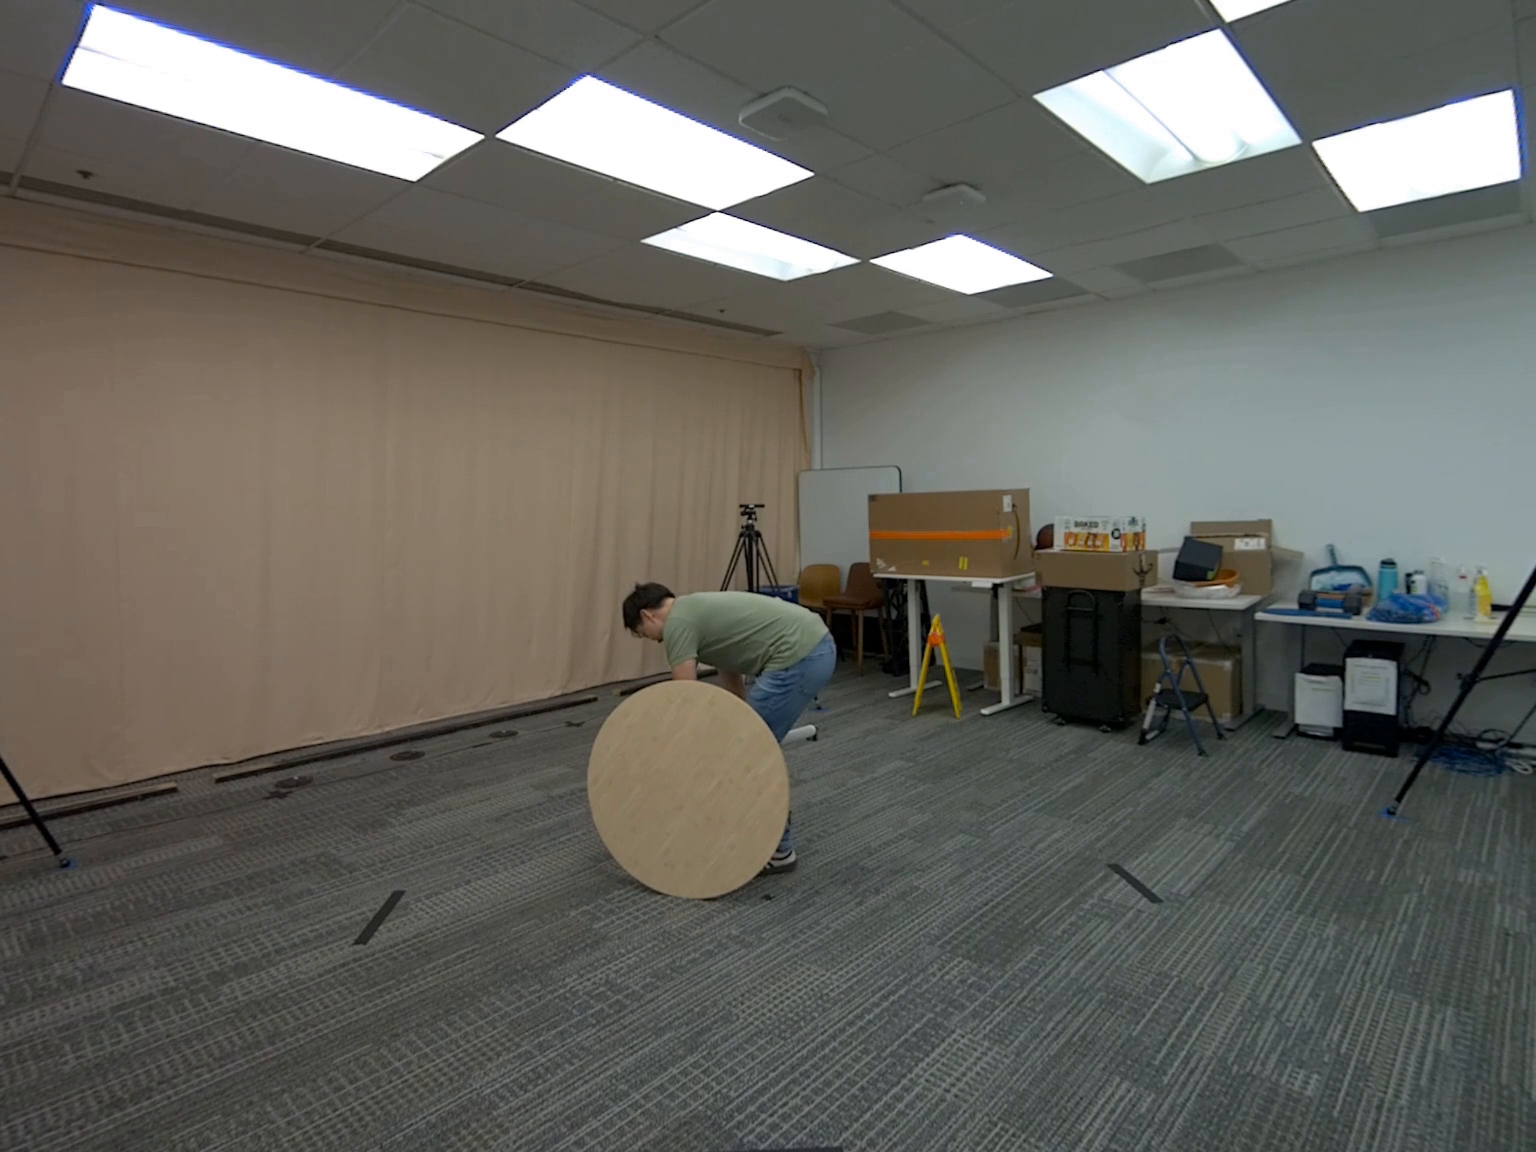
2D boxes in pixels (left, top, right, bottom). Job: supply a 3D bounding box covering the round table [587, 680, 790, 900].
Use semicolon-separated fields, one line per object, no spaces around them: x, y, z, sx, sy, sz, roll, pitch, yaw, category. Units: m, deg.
-0.205;0.764;3.387;0.777;0.765;0.779;0;-2;15;round table
